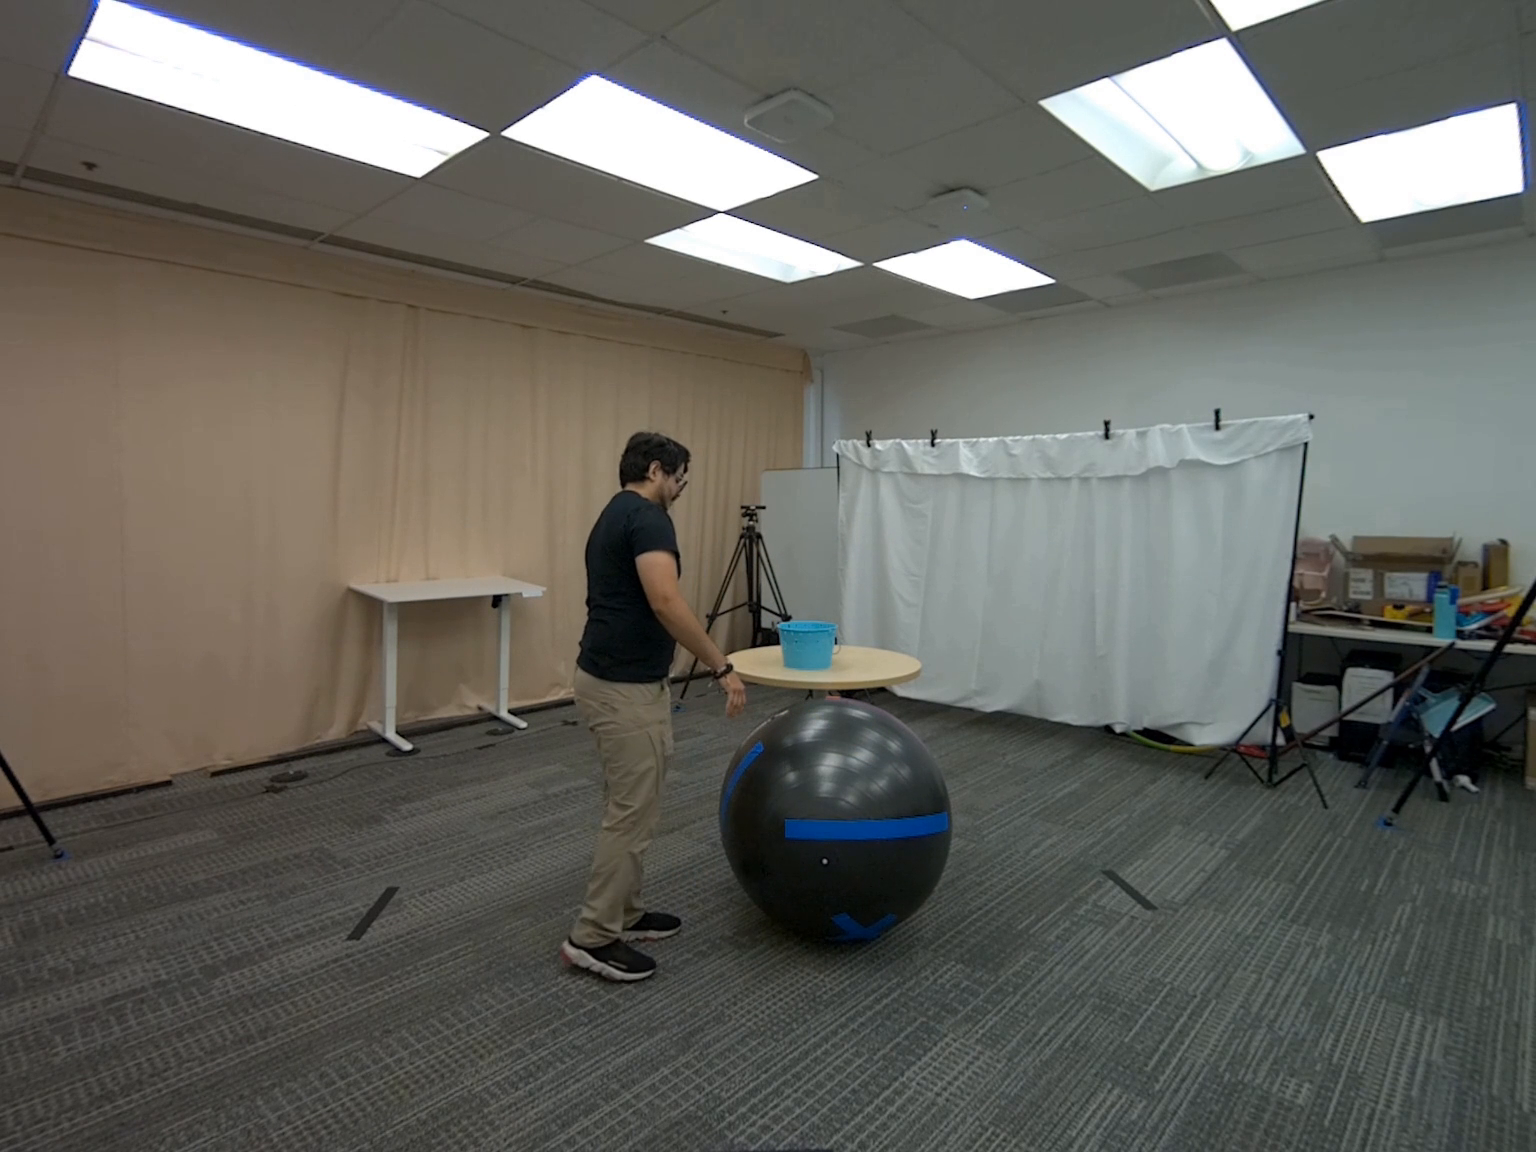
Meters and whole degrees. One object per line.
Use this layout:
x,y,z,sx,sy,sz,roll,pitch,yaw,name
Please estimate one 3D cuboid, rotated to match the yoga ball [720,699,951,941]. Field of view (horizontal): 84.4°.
0.227,0.801,2.767,0.757,0.756,0.760,0,4,-2,yoga ball
